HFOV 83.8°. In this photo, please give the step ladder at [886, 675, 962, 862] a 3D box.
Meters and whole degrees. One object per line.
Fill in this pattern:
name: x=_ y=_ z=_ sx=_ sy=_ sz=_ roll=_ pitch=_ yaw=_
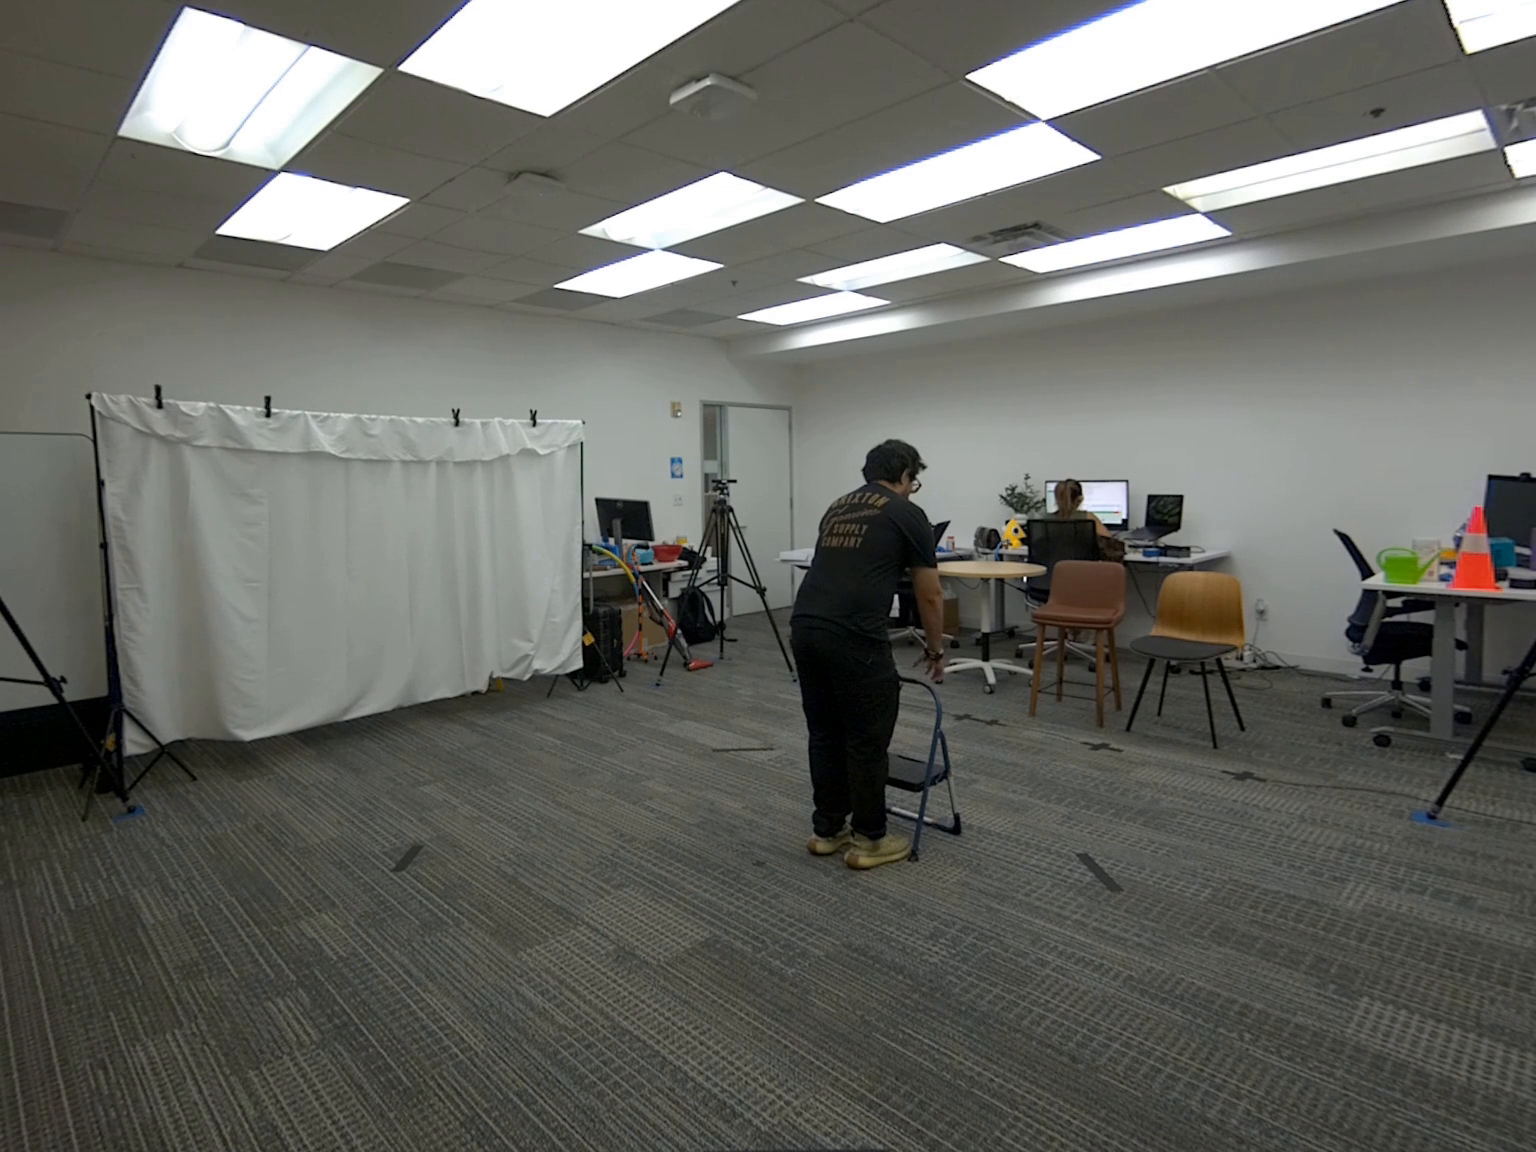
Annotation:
step ladder: x=0.494 y=0.708 z=3.356 sx=0.444 sy=0.604 sz=0.340 roll=4 pitch=6 yaw=45
